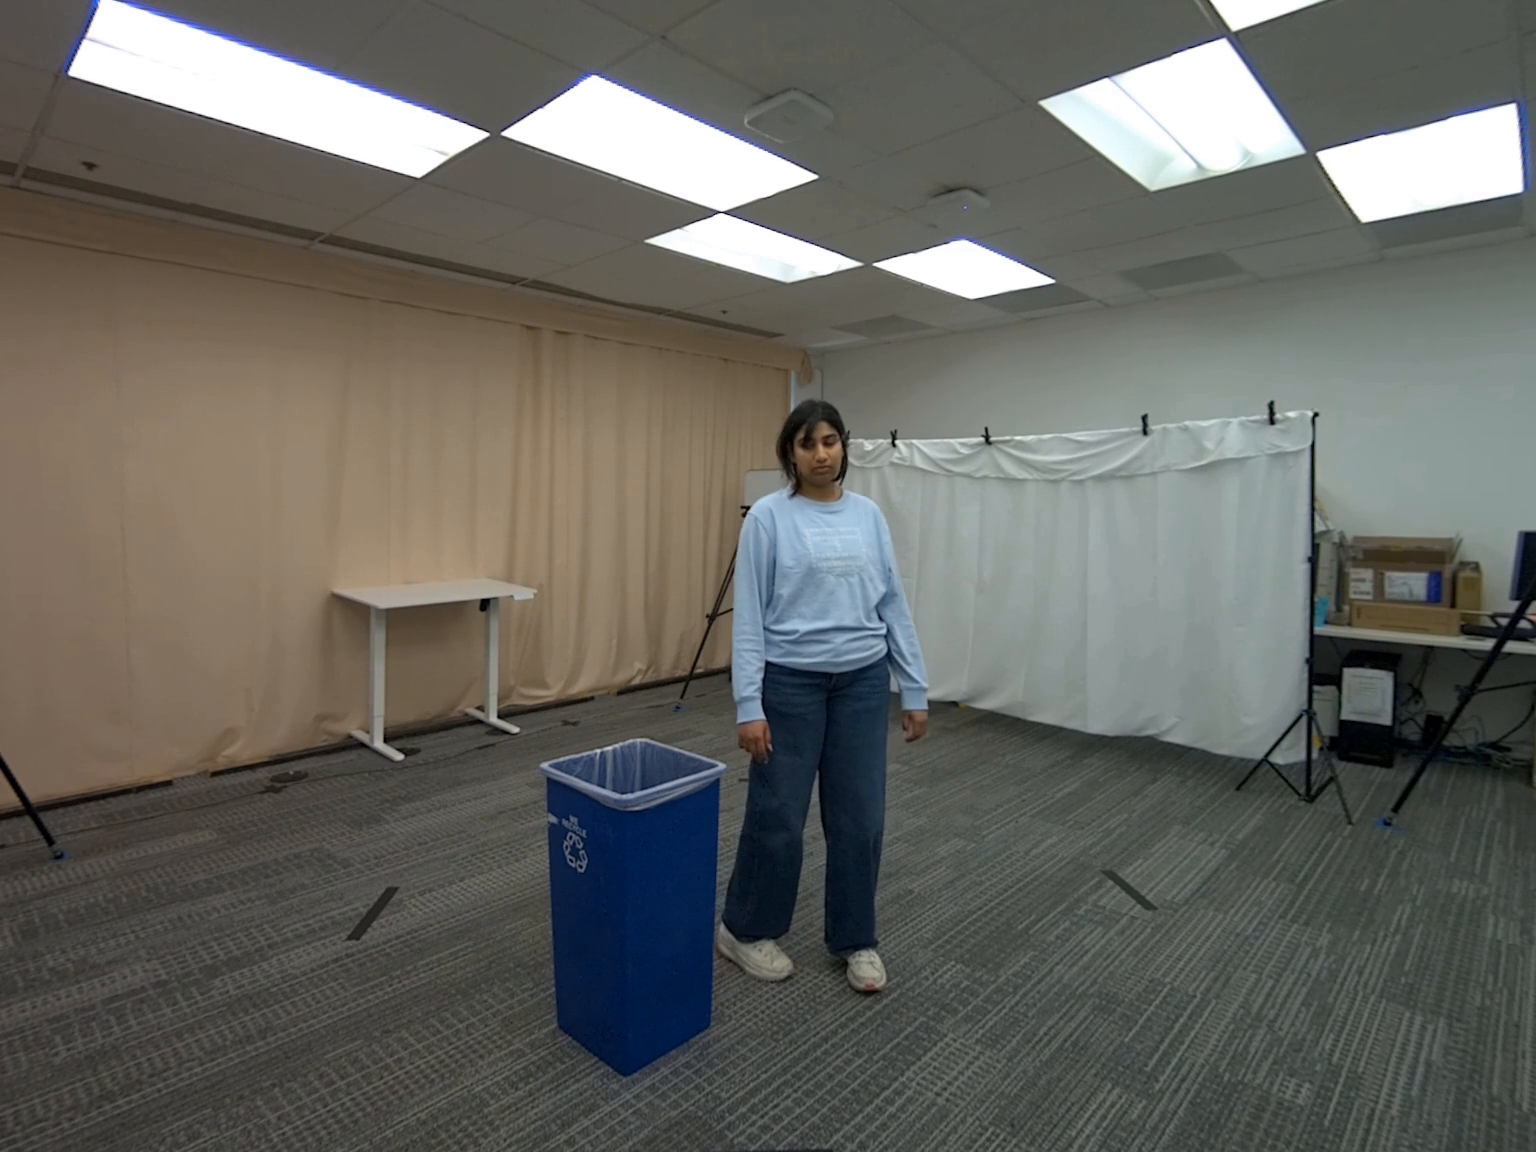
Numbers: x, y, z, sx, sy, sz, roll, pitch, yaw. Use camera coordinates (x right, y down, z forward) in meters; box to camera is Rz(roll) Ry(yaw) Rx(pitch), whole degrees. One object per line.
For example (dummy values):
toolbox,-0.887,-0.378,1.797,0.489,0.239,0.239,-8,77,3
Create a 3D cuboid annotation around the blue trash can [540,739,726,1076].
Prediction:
blue trash can,-0.351,0.852,2.232,0.386,0.712,0.366,2,4,43
